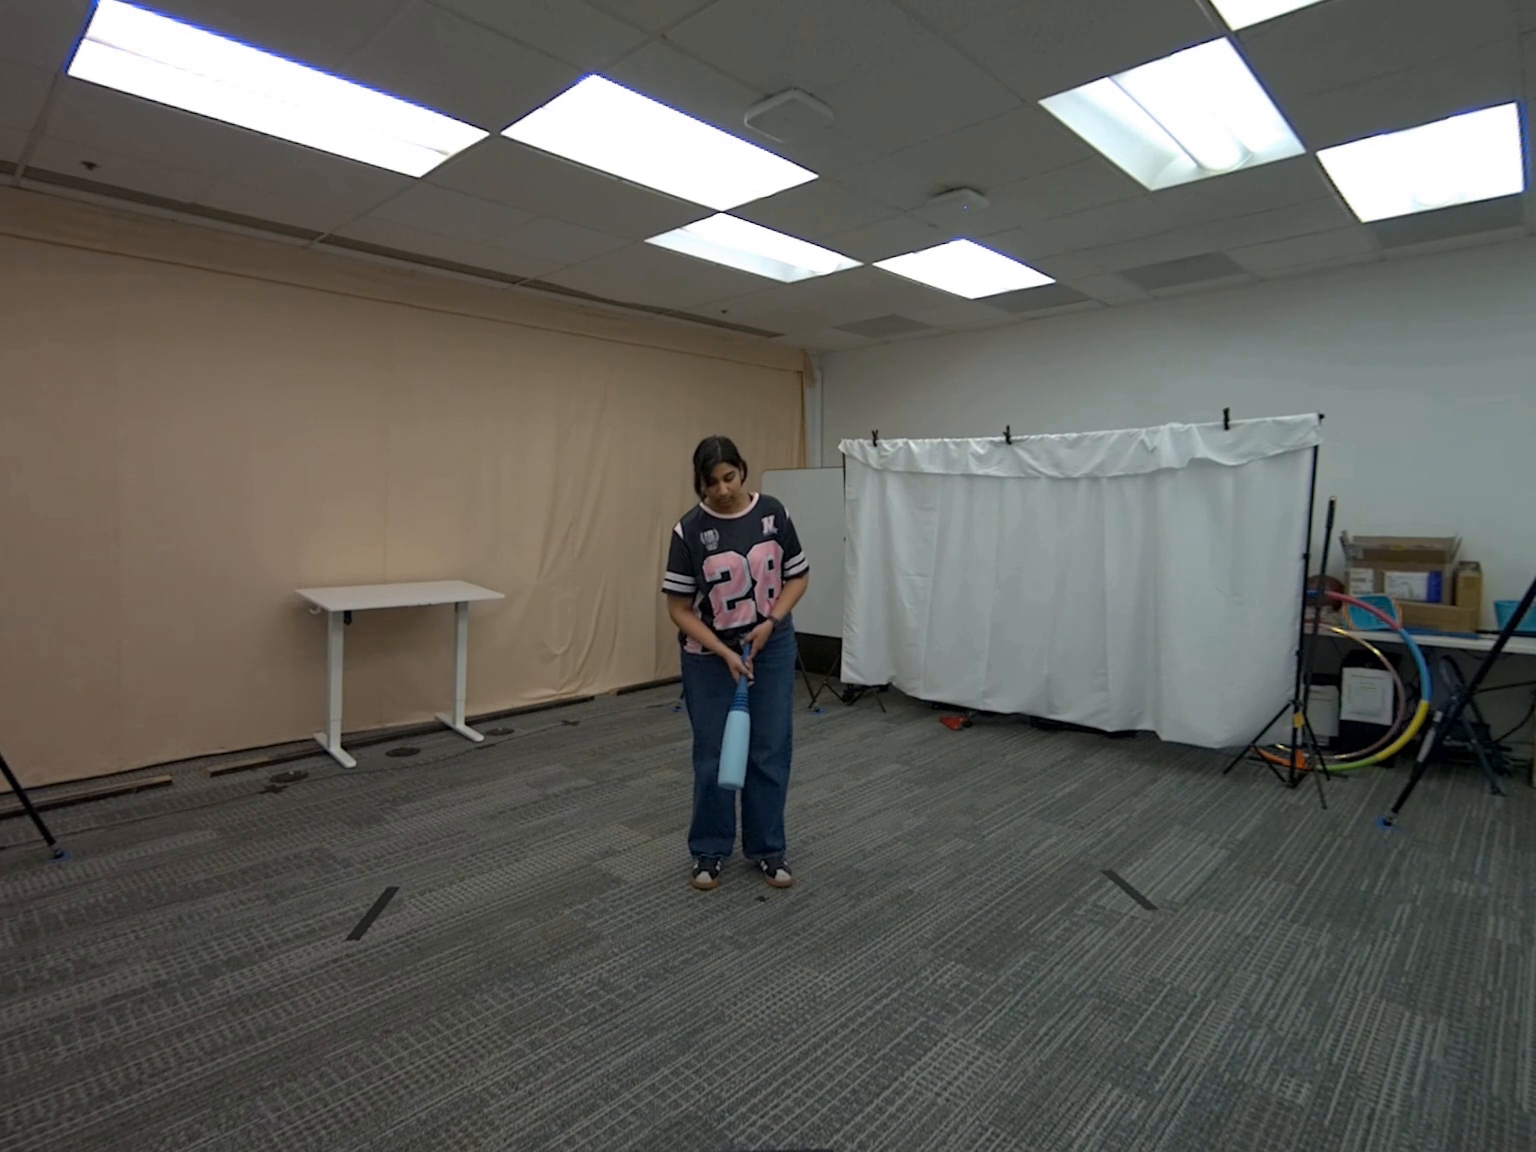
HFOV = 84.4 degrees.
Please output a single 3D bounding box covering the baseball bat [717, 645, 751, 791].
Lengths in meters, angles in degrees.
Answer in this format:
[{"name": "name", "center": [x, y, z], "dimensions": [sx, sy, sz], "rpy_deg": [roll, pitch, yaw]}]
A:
[{"name": "baseball bat", "center": [-0.091, 0.444, 2.871], "dimensions": [0.089, 0.550, 0.088], "rpy_deg": [5, -28, 1]}]
